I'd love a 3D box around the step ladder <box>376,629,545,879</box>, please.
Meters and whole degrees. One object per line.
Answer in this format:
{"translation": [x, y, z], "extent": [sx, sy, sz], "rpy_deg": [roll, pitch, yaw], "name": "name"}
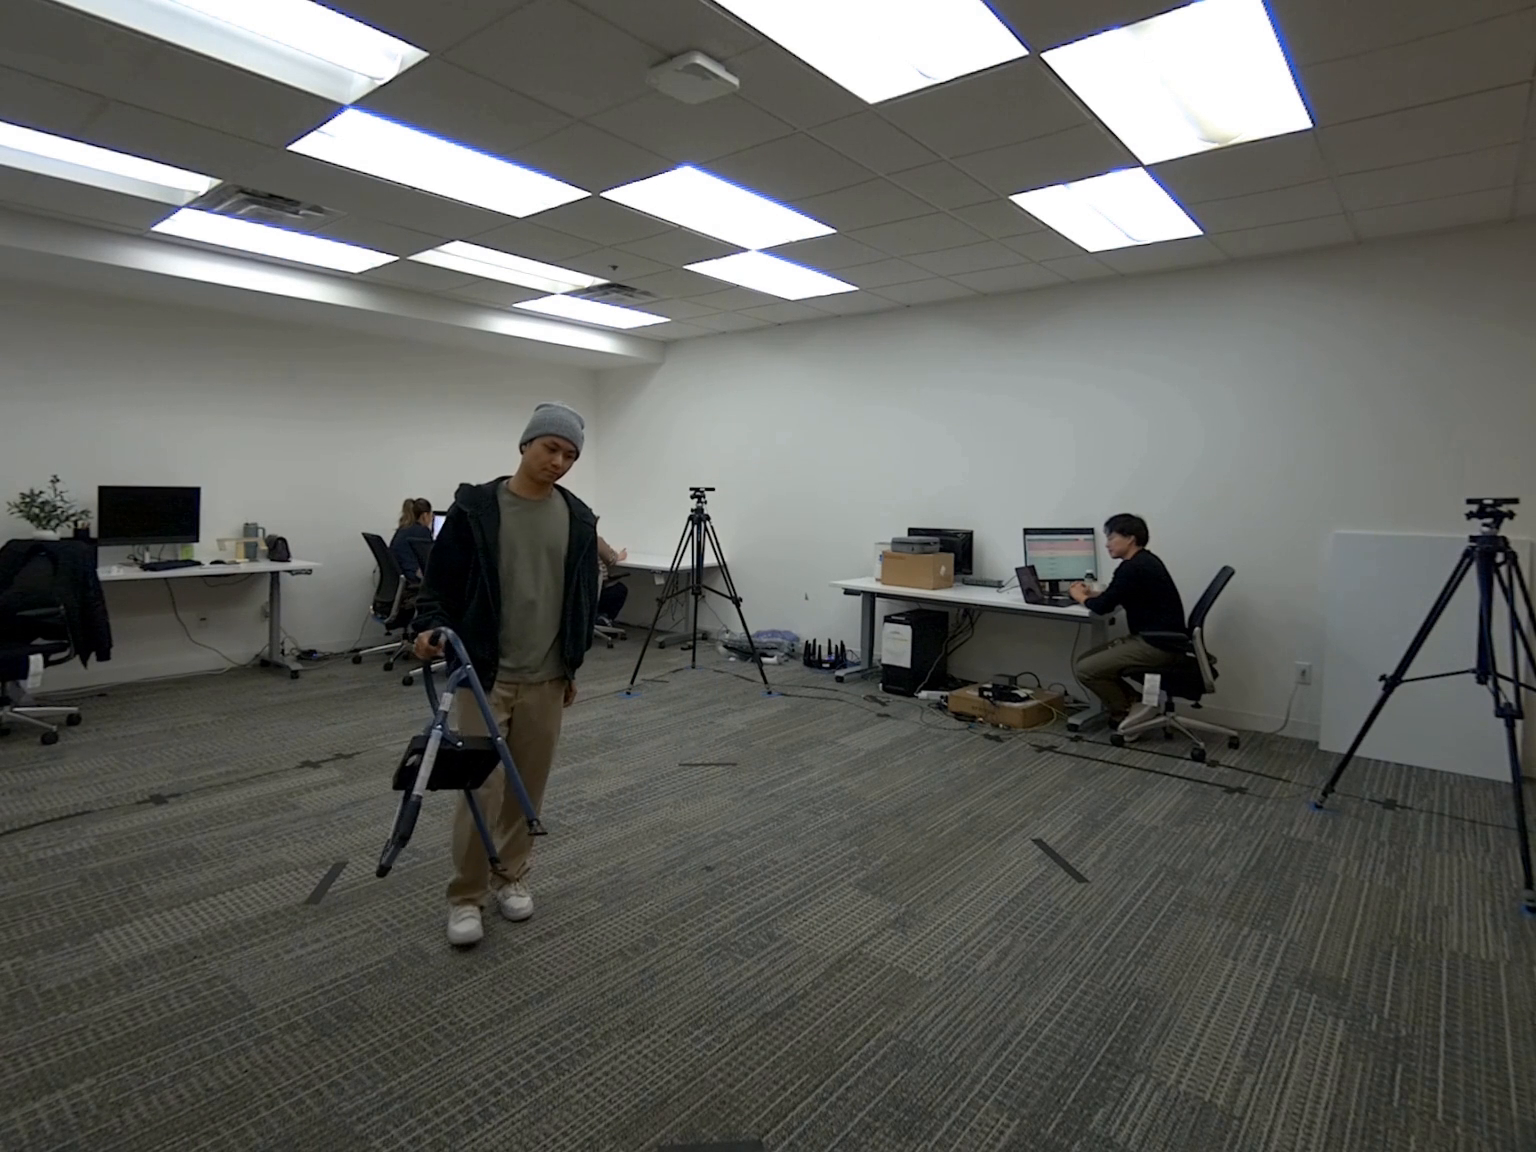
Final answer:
{"translation": [-0.871, 0.459, 2.347], "extent": [0.339, 0.624, 0.430], "rpy_deg": [7, -35, -30], "name": "step ladder"}
